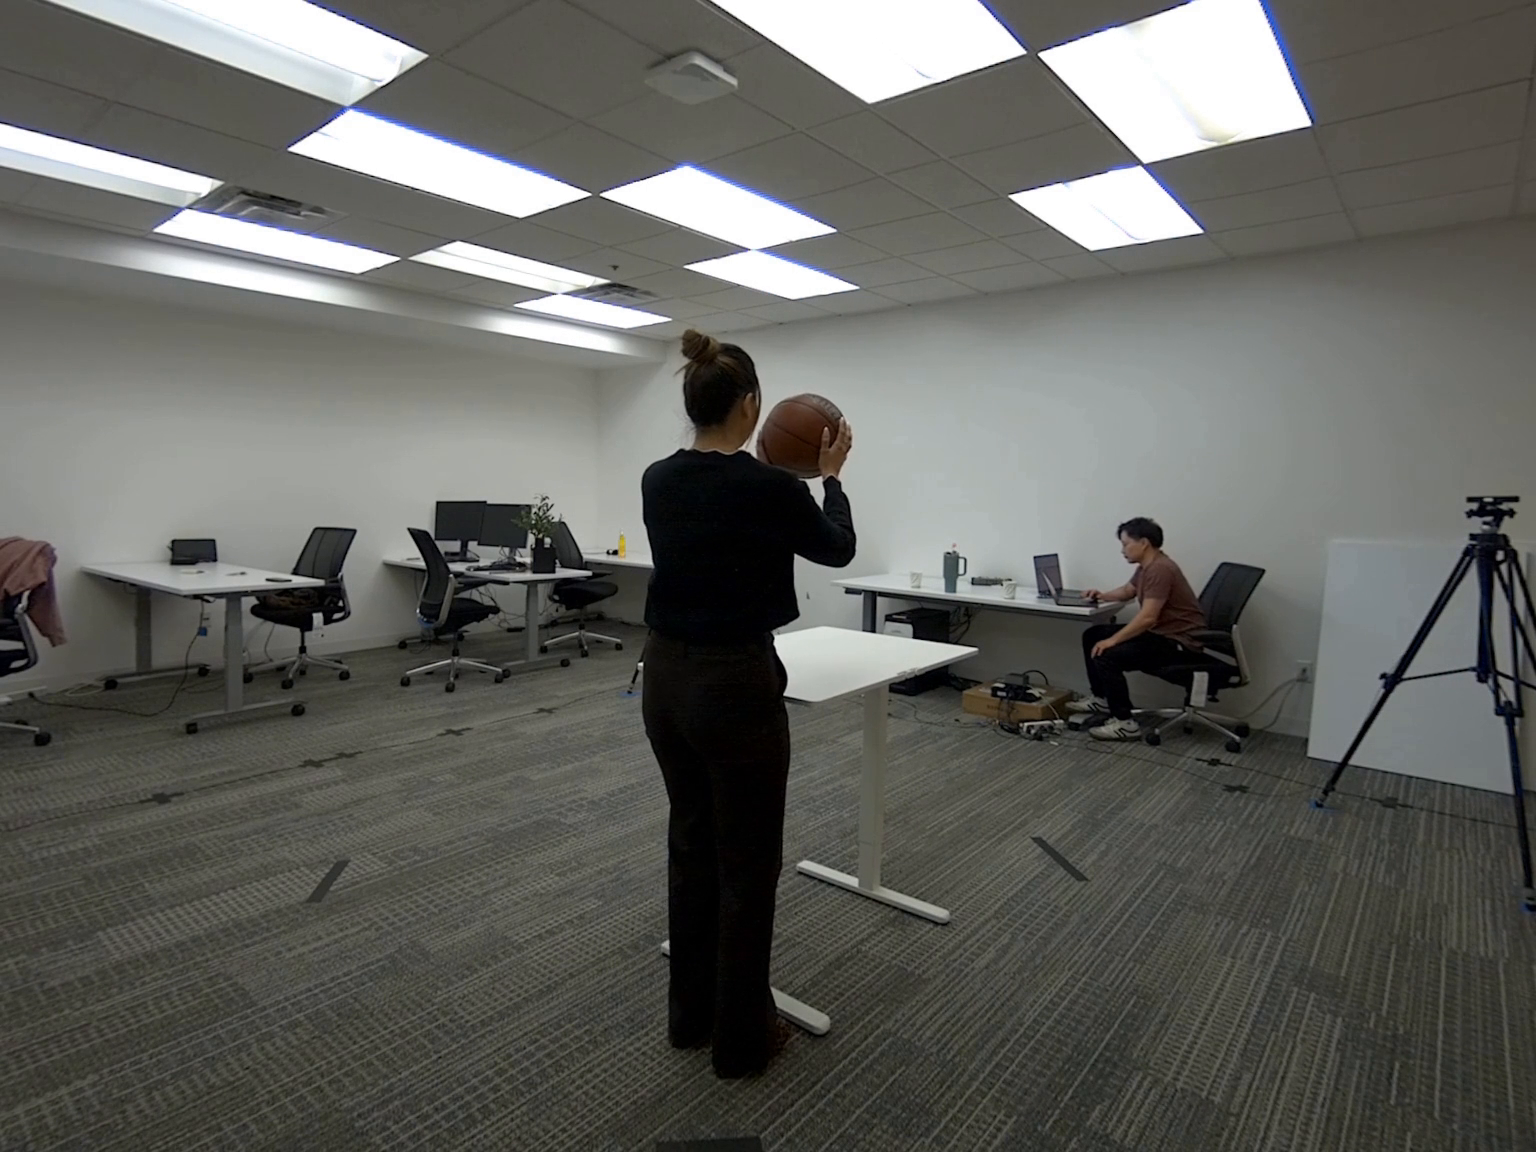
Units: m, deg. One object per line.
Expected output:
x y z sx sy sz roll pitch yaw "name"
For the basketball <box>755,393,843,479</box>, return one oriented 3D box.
0.103 -0.388 2.347 0.235 0.235 0.237 1 4 -2 "basketball"
